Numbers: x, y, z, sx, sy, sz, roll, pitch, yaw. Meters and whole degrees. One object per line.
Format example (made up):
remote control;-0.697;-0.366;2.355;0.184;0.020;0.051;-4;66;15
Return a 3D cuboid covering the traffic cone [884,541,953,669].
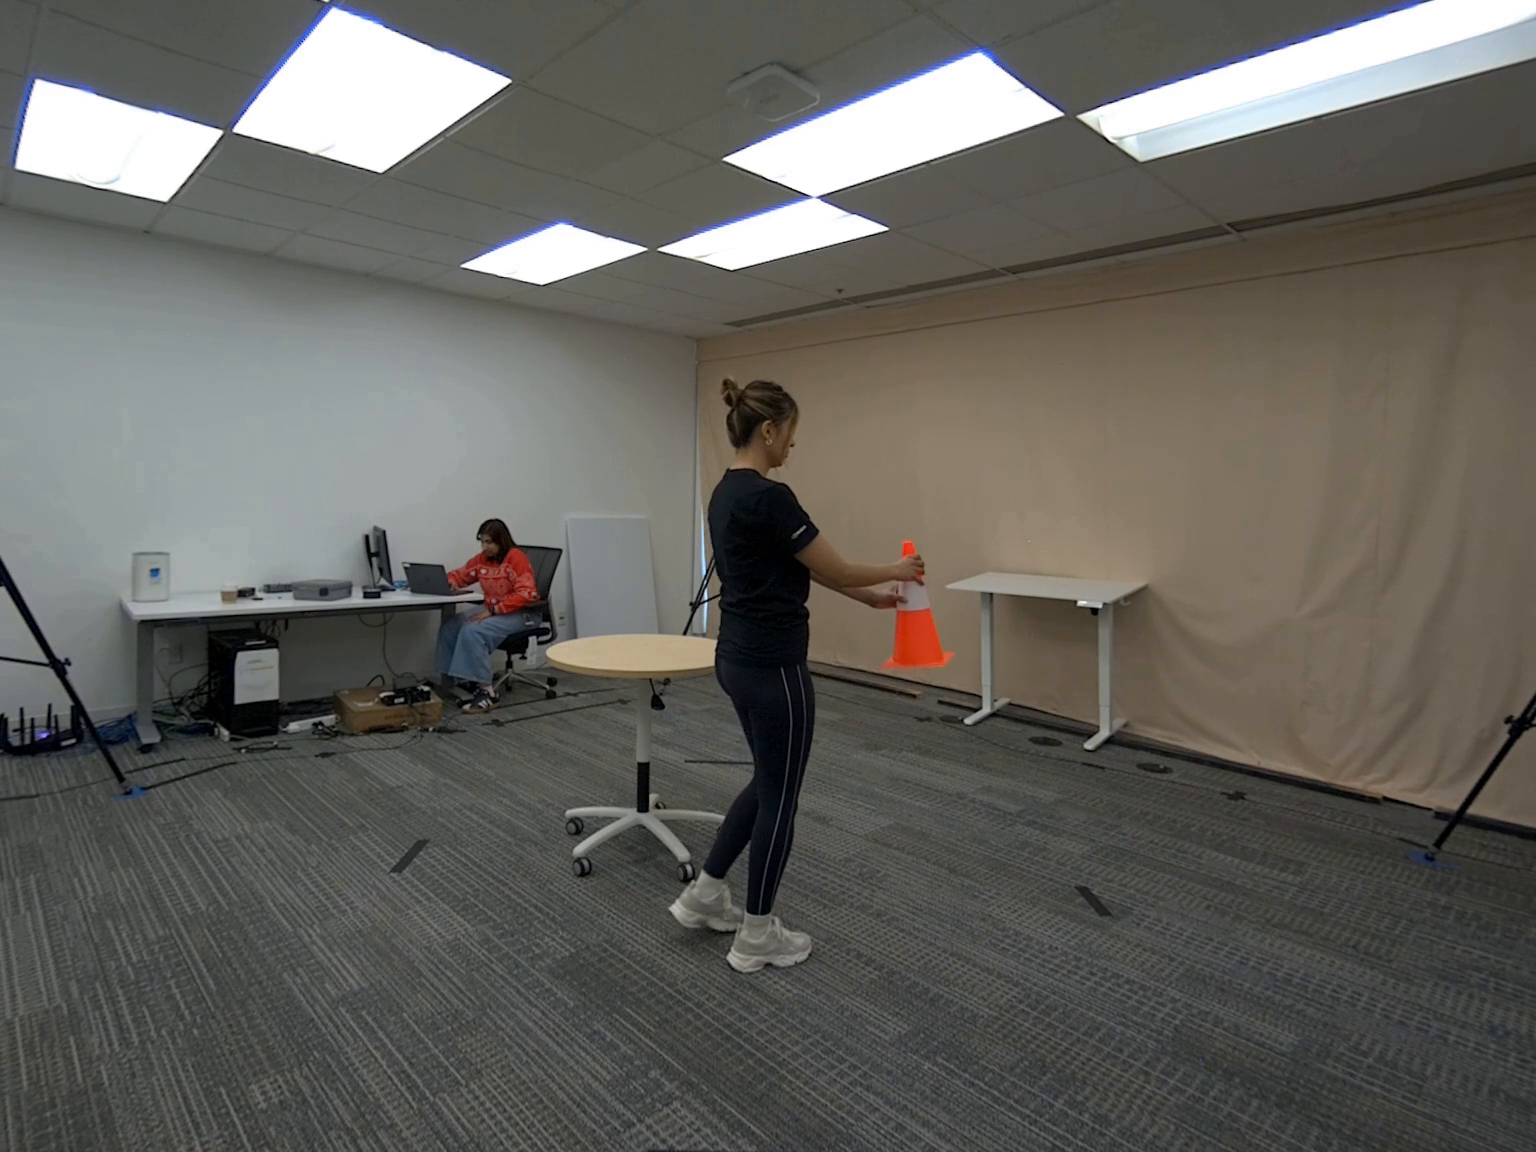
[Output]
traffic cone;0.457;0.081;2.663;0.207;0.382;0.202;-3;5;28
